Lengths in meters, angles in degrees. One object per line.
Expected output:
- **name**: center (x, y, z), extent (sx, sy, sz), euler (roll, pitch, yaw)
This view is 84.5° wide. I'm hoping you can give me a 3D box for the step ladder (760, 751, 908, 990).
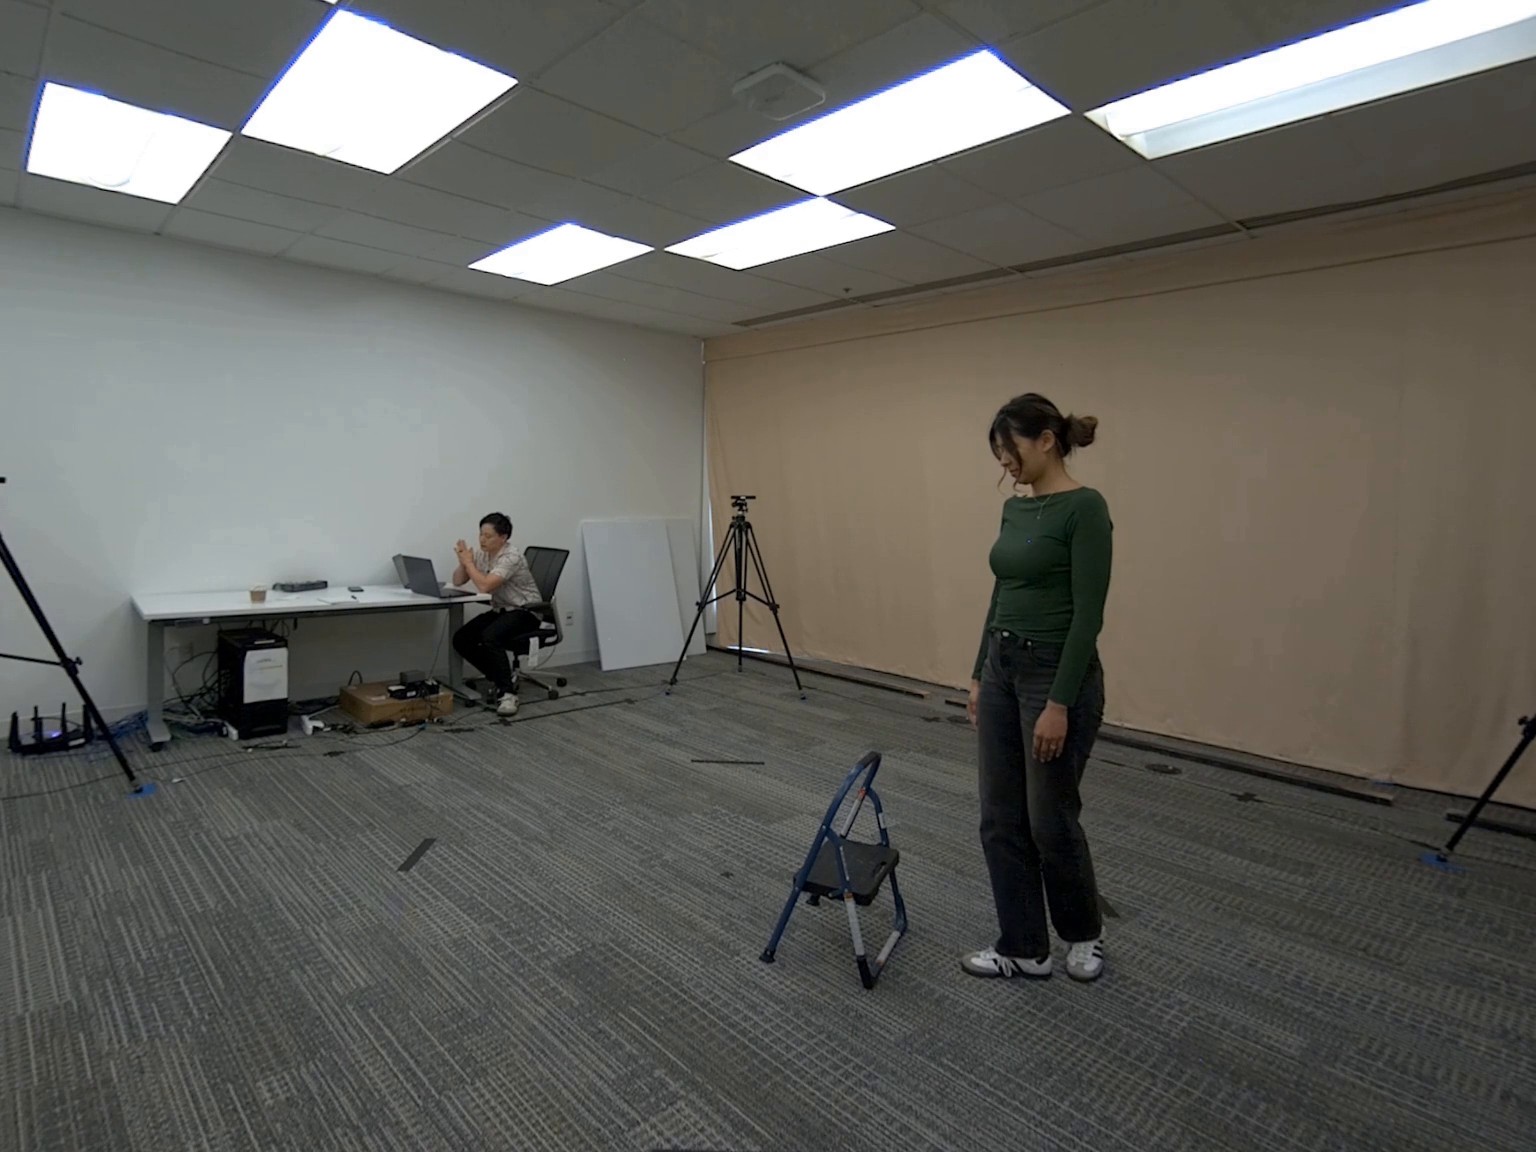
- **step ladder**: center (0.224, 0.851, 2.626), extent (0.356, 0.604, 0.423), euler (4, 5, 24)
